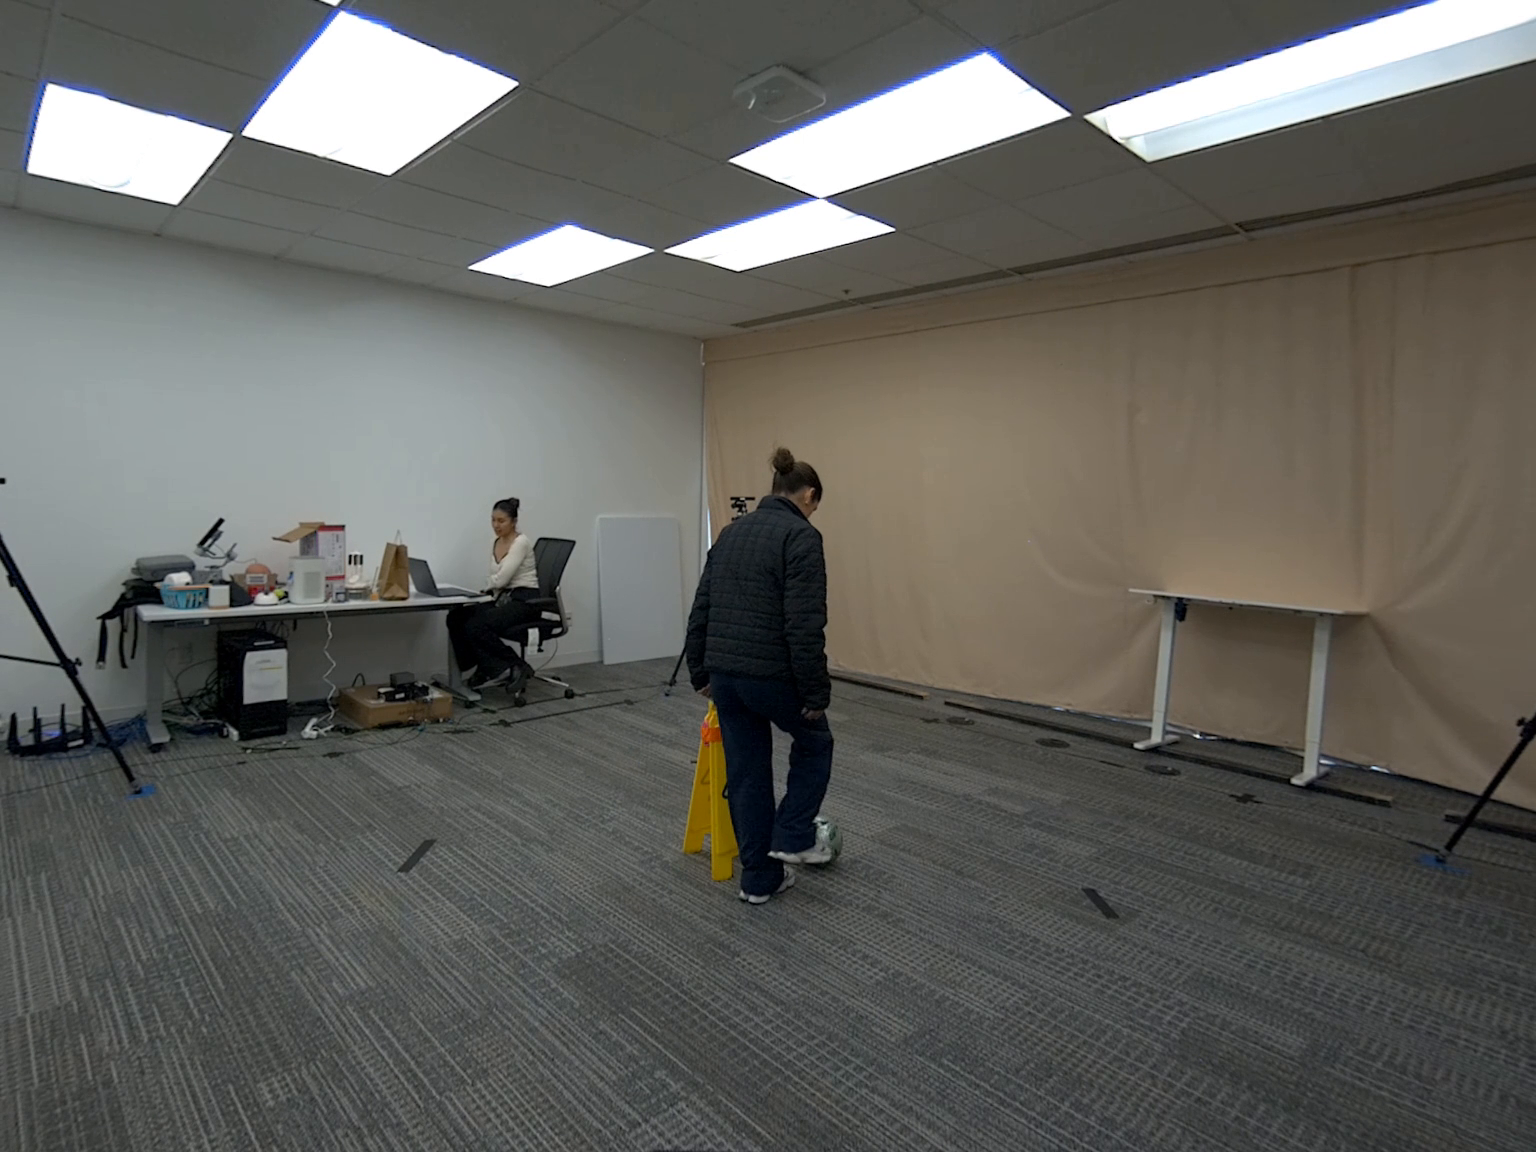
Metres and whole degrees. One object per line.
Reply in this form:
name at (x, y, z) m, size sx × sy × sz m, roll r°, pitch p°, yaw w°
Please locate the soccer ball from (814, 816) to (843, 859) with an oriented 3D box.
soccer ball at (0.189, 1.011, 3.216) m, size 0.187 × 0.187 × 0.188 m, roll 1°, pitch 4°, yaw -1°
